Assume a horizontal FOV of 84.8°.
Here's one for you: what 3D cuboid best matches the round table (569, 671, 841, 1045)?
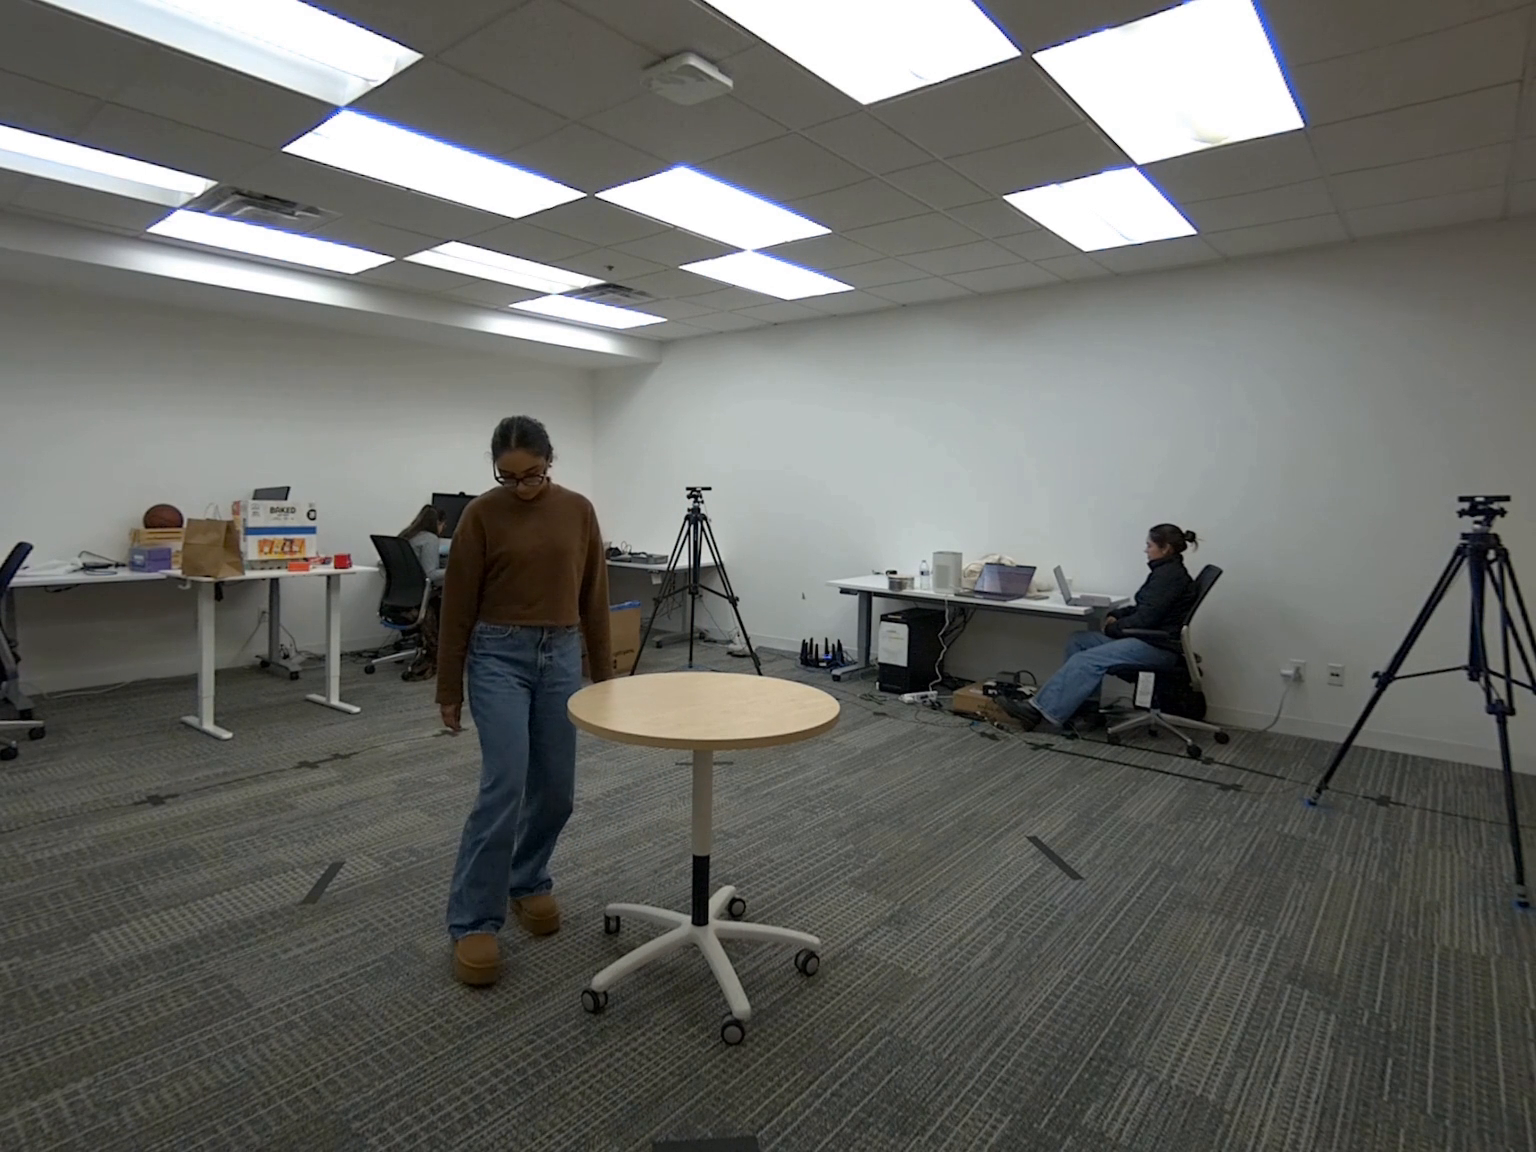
[{"bbox_3d":[-0.203,0.743,2.436,0.763,0.791,0.768,1,4,-2],"label":"round table"}]
